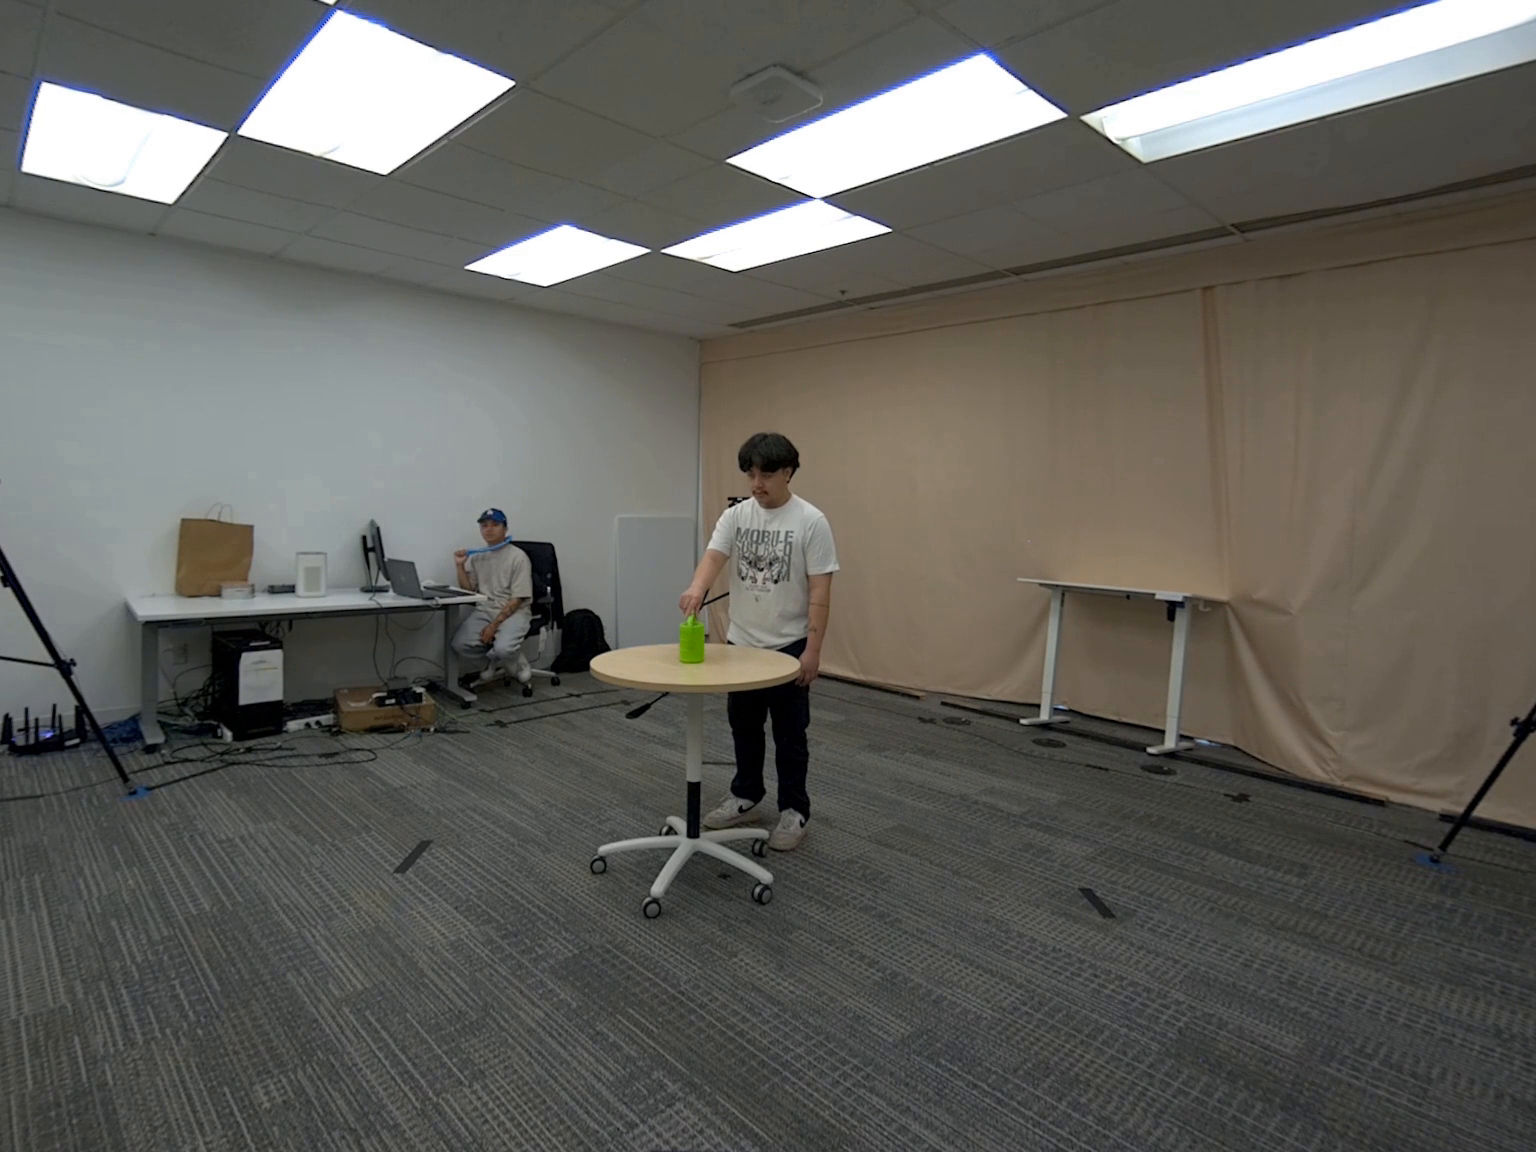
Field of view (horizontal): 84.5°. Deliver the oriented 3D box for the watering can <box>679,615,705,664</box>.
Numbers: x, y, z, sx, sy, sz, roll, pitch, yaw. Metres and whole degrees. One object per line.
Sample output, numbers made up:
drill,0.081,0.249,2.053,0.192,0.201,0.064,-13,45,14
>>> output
watering can,-0.278,0.227,3.133,0.099,0.176,0.276,3,6,13
